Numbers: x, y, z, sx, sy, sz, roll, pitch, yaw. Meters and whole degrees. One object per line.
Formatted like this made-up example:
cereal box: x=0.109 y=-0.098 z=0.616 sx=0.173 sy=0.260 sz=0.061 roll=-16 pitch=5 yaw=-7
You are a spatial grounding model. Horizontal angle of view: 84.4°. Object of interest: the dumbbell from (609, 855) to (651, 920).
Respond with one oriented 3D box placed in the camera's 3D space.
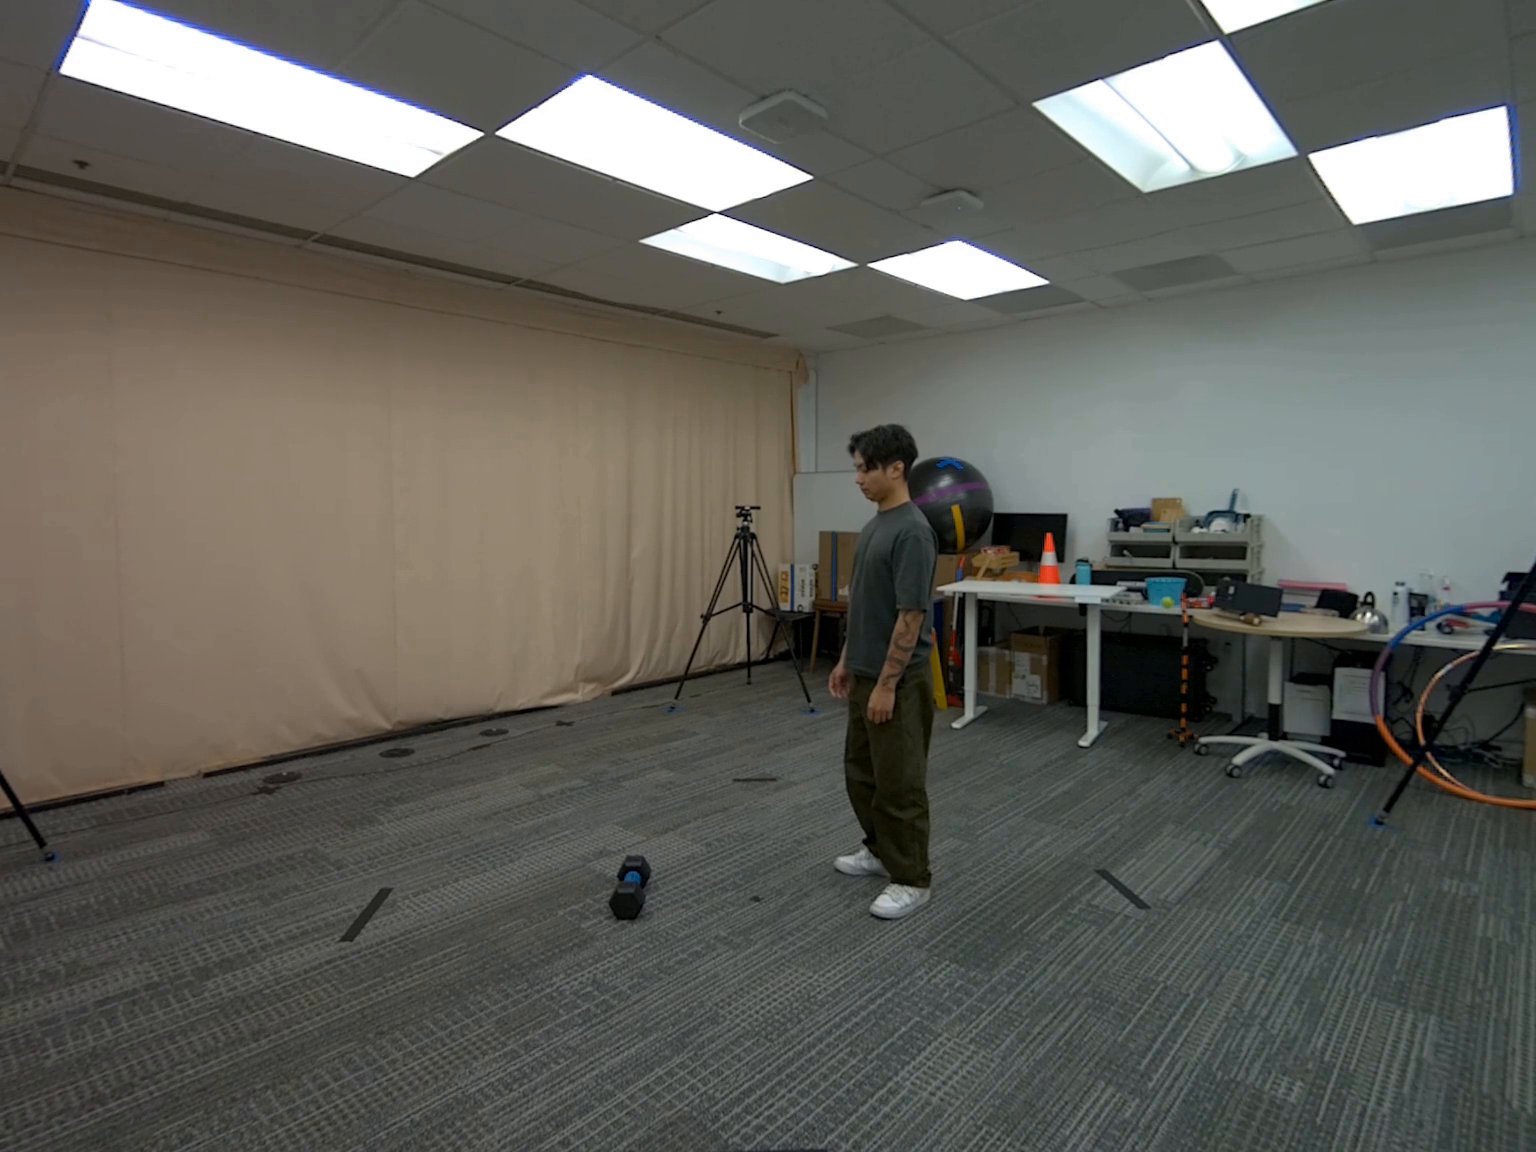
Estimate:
dumbbell: x=-0.479 y=1.100 z=2.973 sx=0.108 sy=0.123 sz=0.295 roll=31 pitch=3 yaw=-5
